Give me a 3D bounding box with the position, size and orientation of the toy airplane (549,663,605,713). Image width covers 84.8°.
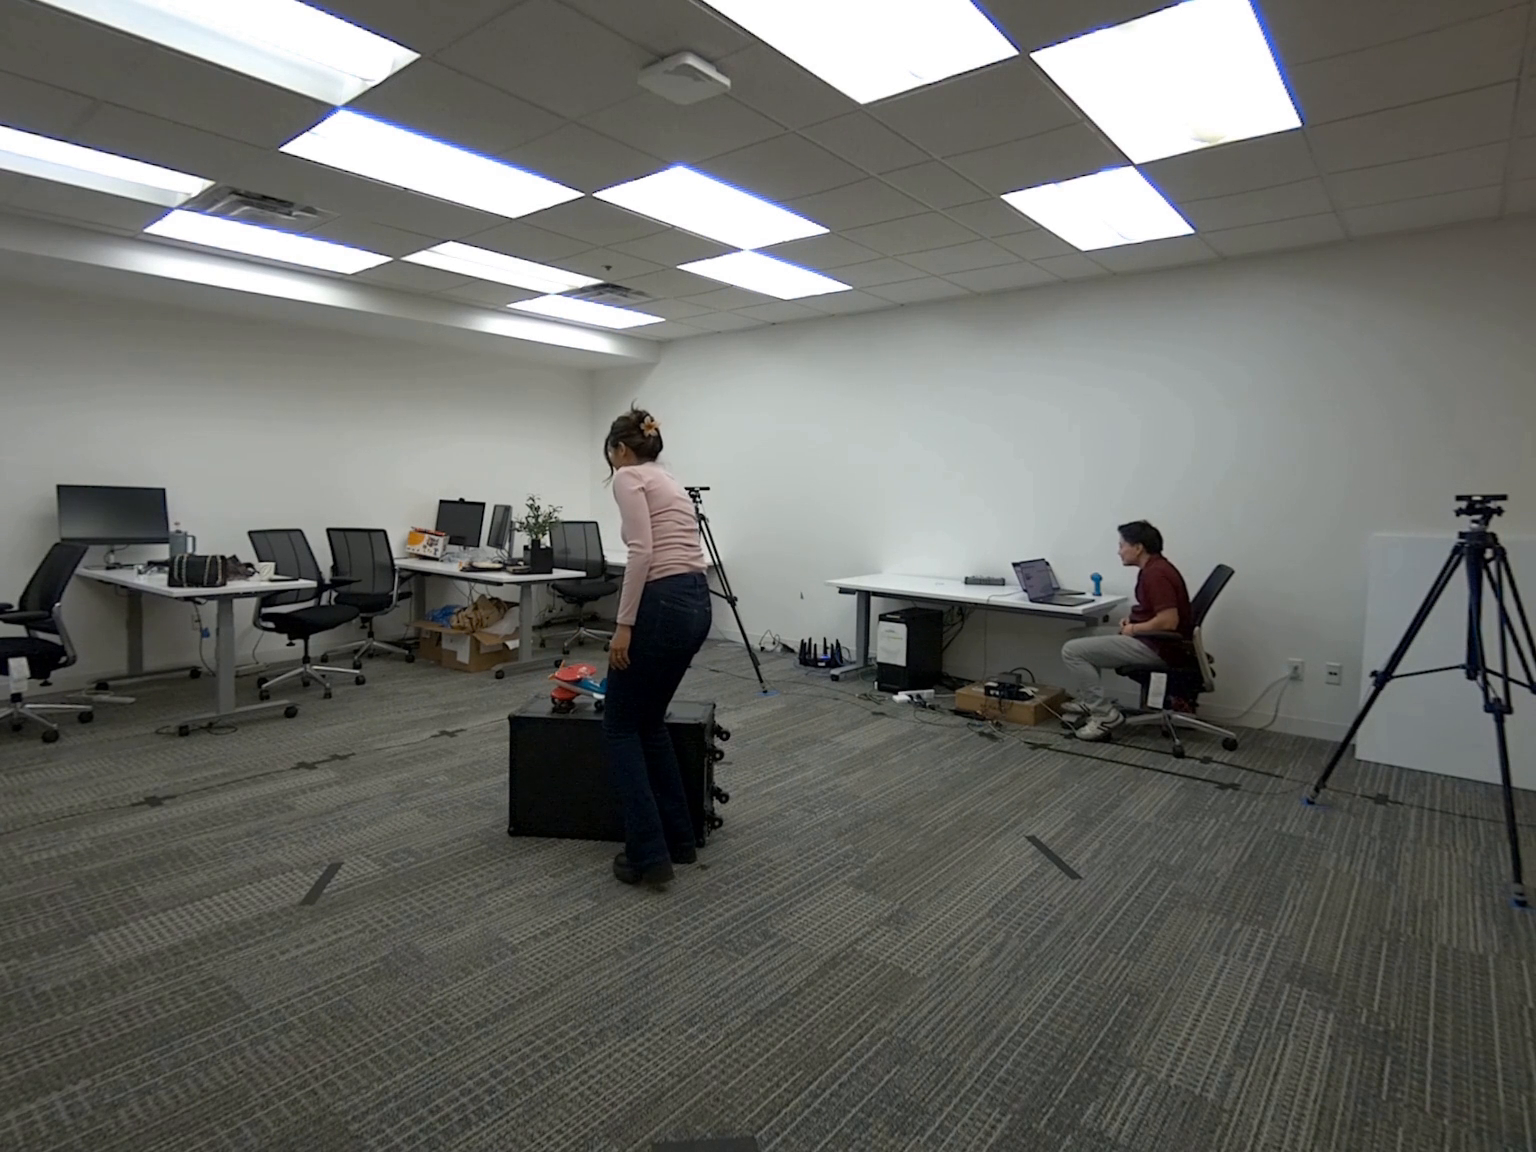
[{"bbox_3d":[-0.782,0.457,3.539,0.257,0.156,0.254,-1,5,-8],"label":"toy airplane"}]
